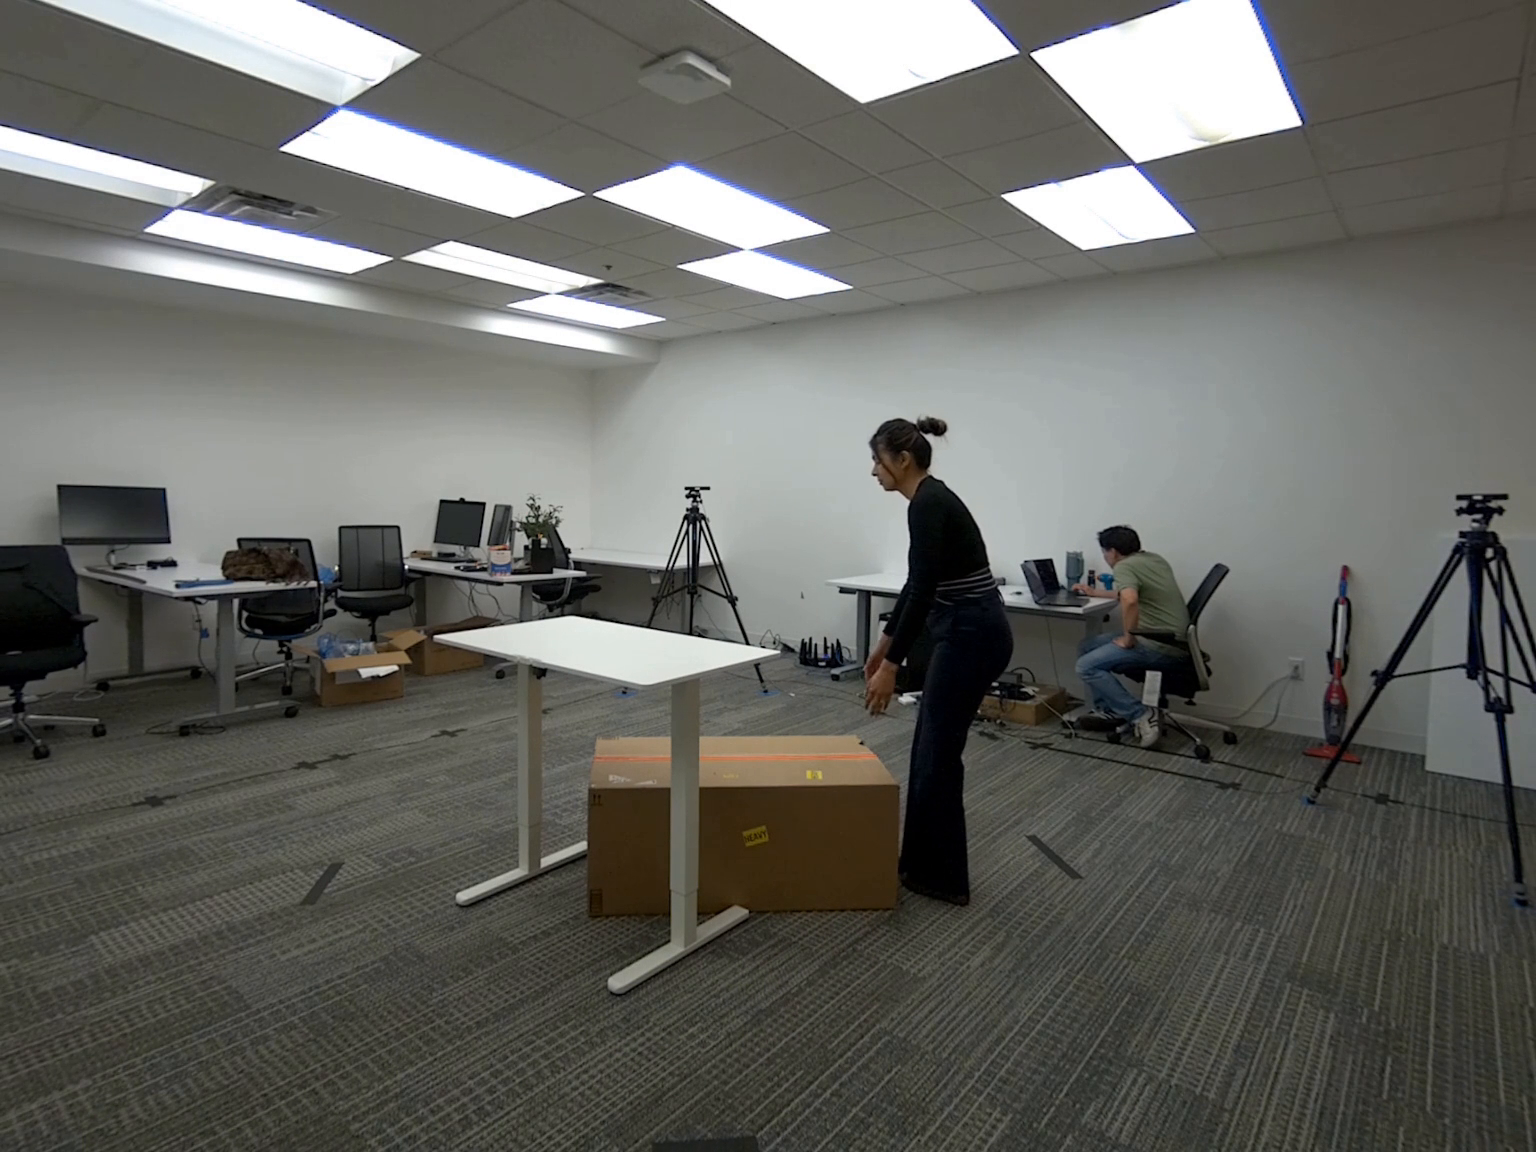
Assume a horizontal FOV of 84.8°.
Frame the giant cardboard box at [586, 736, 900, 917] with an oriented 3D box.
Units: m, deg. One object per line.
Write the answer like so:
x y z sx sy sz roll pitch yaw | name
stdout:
-0.124 0.856 3.054 1.019 0.424 0.584 0 5 -6 | giant cardboard box
